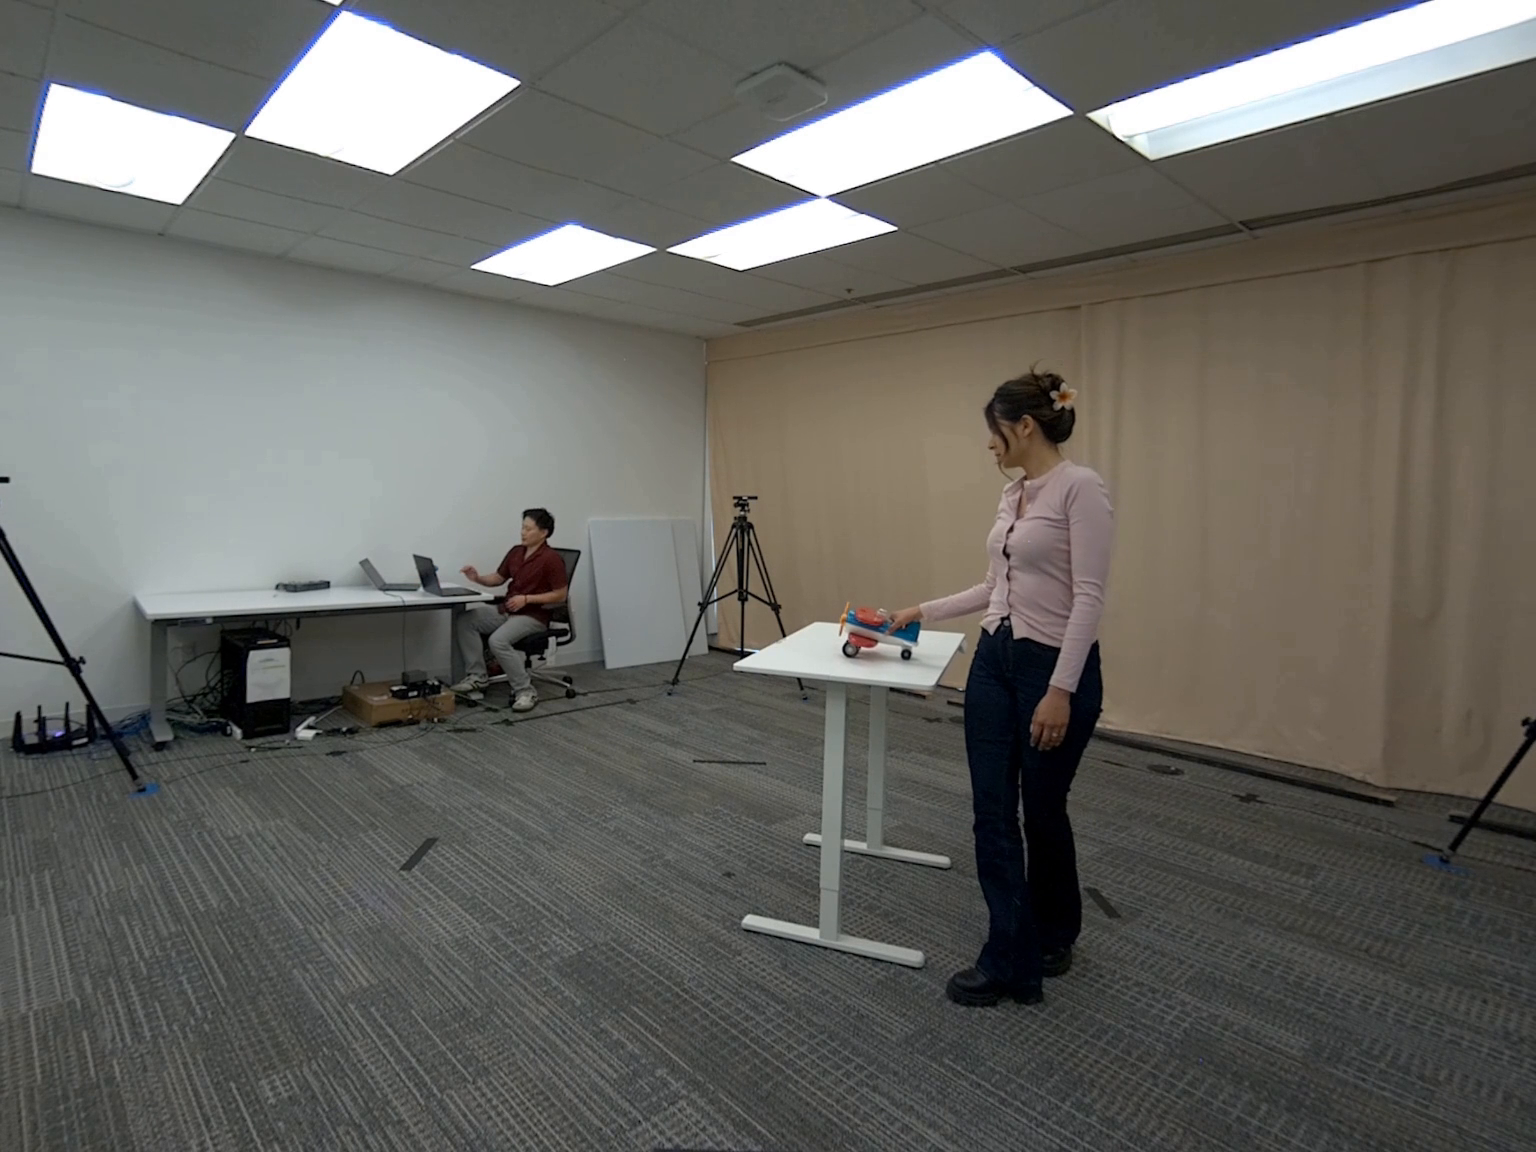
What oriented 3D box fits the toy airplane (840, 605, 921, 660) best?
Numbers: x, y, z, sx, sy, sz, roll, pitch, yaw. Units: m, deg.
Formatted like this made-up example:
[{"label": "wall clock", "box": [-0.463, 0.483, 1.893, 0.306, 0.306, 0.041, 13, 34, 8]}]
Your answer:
[{"label": "toy airplane", "box": [0.360, 0.189, 2.770, 0.256, 0.156, 0.255, -1, 6, -16]}]
